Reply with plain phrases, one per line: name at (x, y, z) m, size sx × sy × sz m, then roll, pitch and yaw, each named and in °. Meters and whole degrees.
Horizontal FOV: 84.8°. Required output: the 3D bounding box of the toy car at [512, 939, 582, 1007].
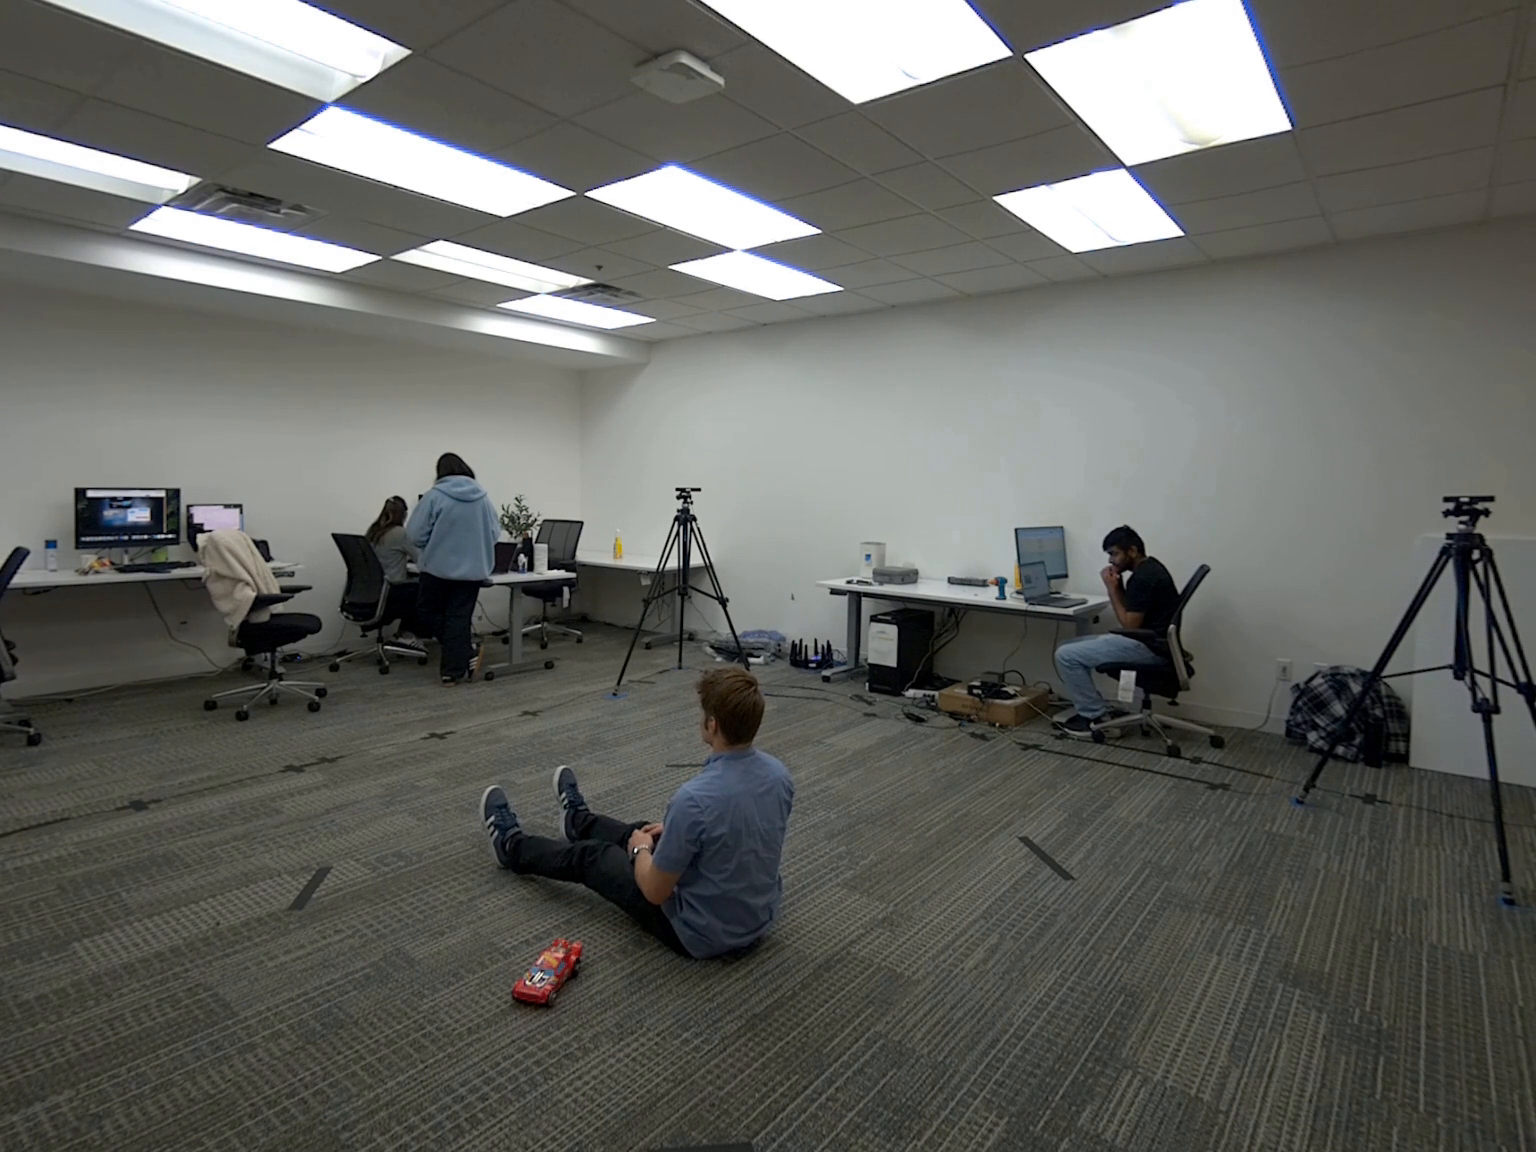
toy car at (-0.616, 1.100, 2.376) m, size 0.132 × 0.082 × 0.255 m, roll 1°, pitch 20°, yaw 14°
